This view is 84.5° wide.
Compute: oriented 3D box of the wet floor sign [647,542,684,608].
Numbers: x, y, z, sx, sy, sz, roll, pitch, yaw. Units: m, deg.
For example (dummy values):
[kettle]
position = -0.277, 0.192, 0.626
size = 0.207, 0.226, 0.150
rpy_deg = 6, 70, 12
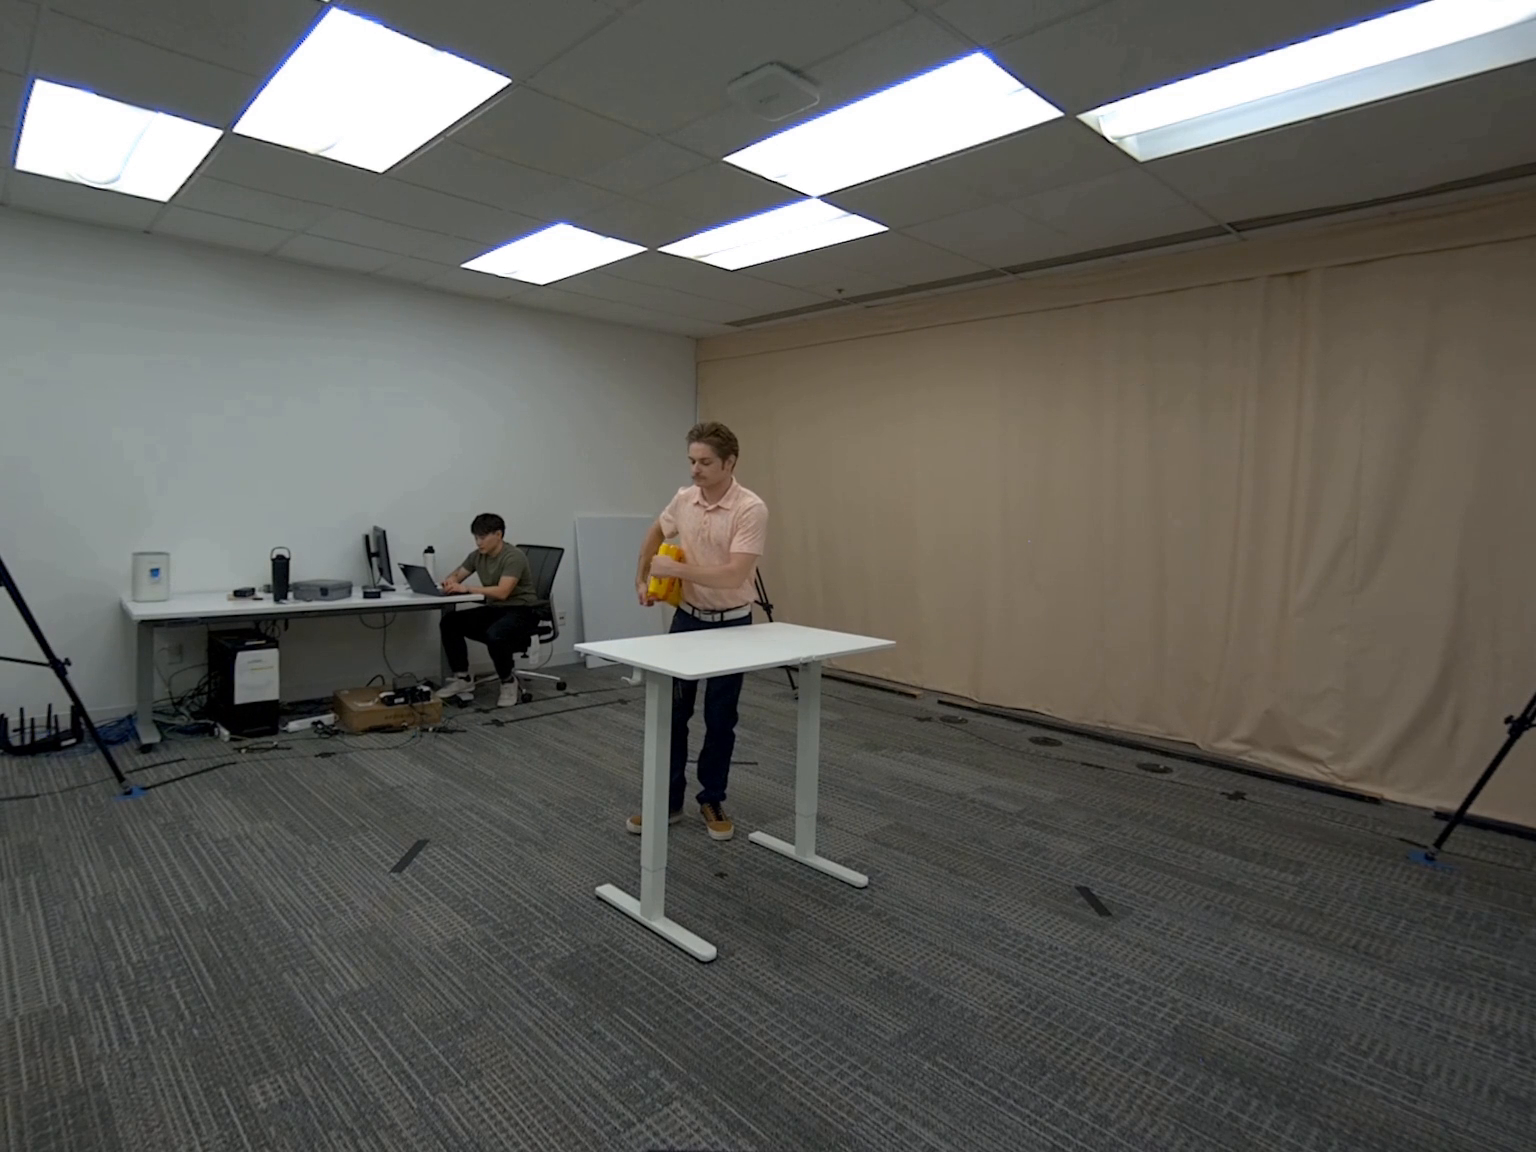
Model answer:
[wet floor sign]
position = -0.435, 0.006, 3.611
size = 0.292, 0.283, 0.639
rpy_deg = 14, -6, 6
